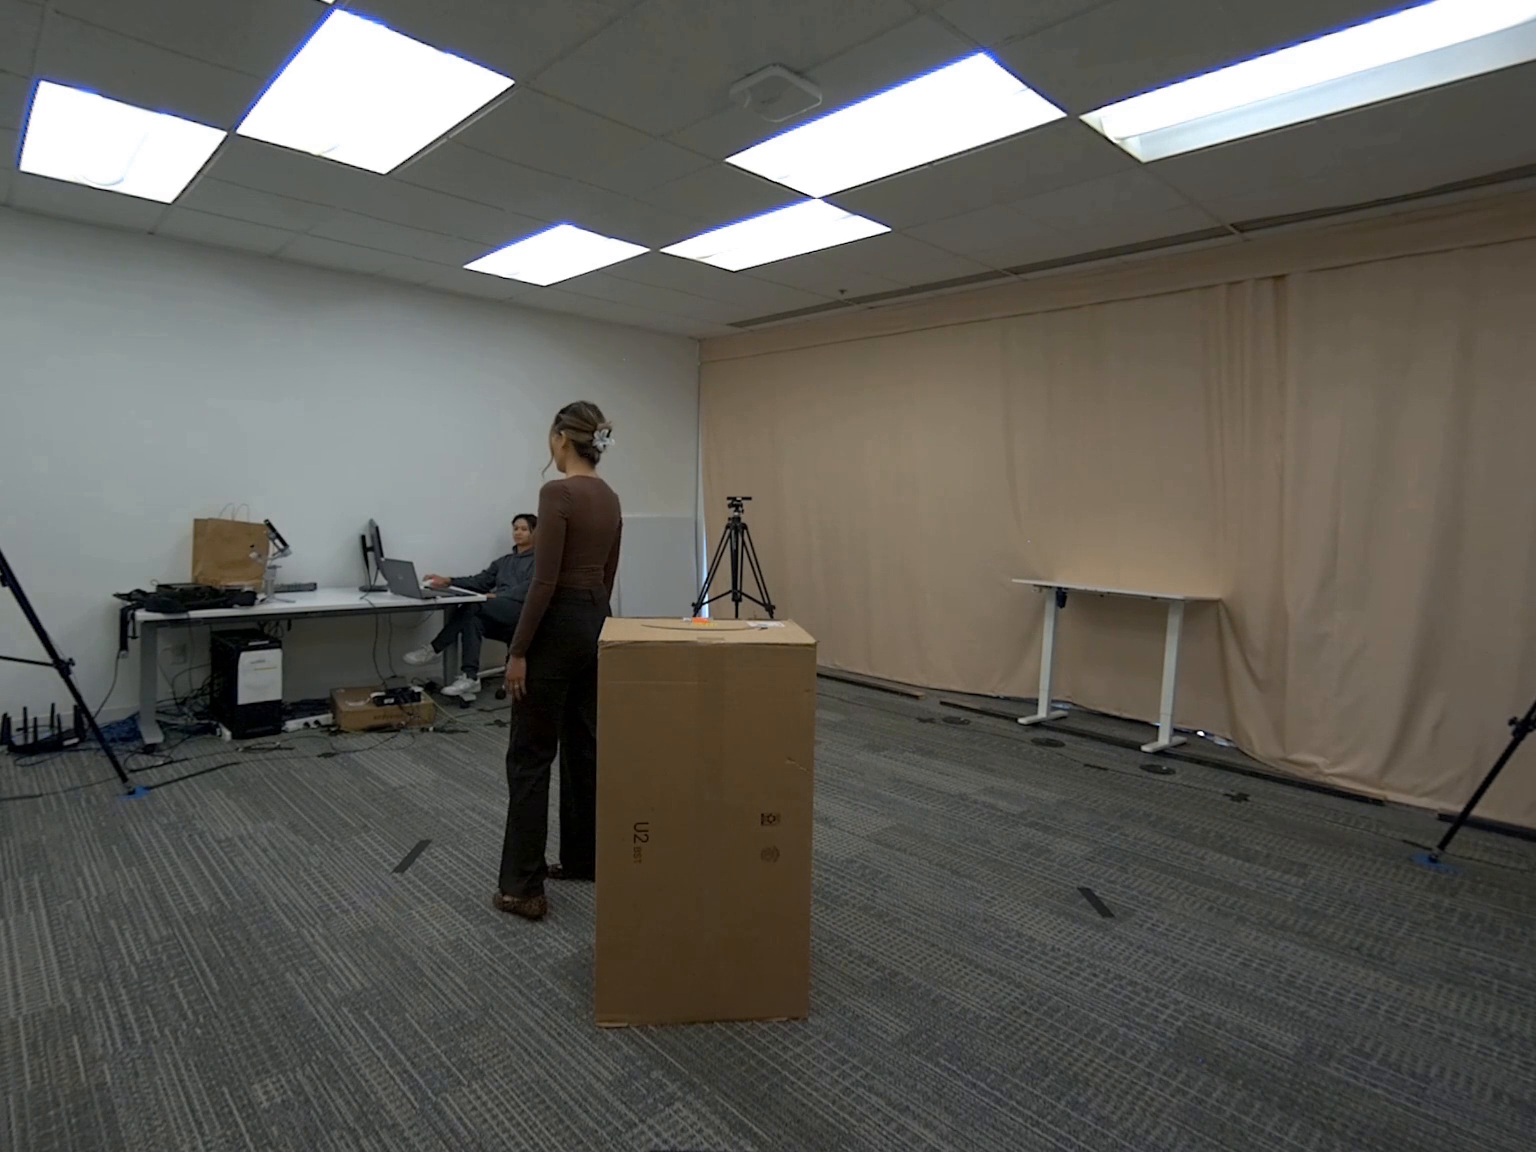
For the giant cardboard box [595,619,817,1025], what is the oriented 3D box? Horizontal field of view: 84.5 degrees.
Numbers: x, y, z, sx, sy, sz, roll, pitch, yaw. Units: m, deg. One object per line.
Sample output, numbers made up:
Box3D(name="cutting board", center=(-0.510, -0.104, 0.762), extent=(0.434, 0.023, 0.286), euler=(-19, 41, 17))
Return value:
Box3D(name="giant cardboard box", center=(-0.199, 0.661, 2.407), extent=(0.580, 1.024, 0.451), euler=(1, 4, -8))
